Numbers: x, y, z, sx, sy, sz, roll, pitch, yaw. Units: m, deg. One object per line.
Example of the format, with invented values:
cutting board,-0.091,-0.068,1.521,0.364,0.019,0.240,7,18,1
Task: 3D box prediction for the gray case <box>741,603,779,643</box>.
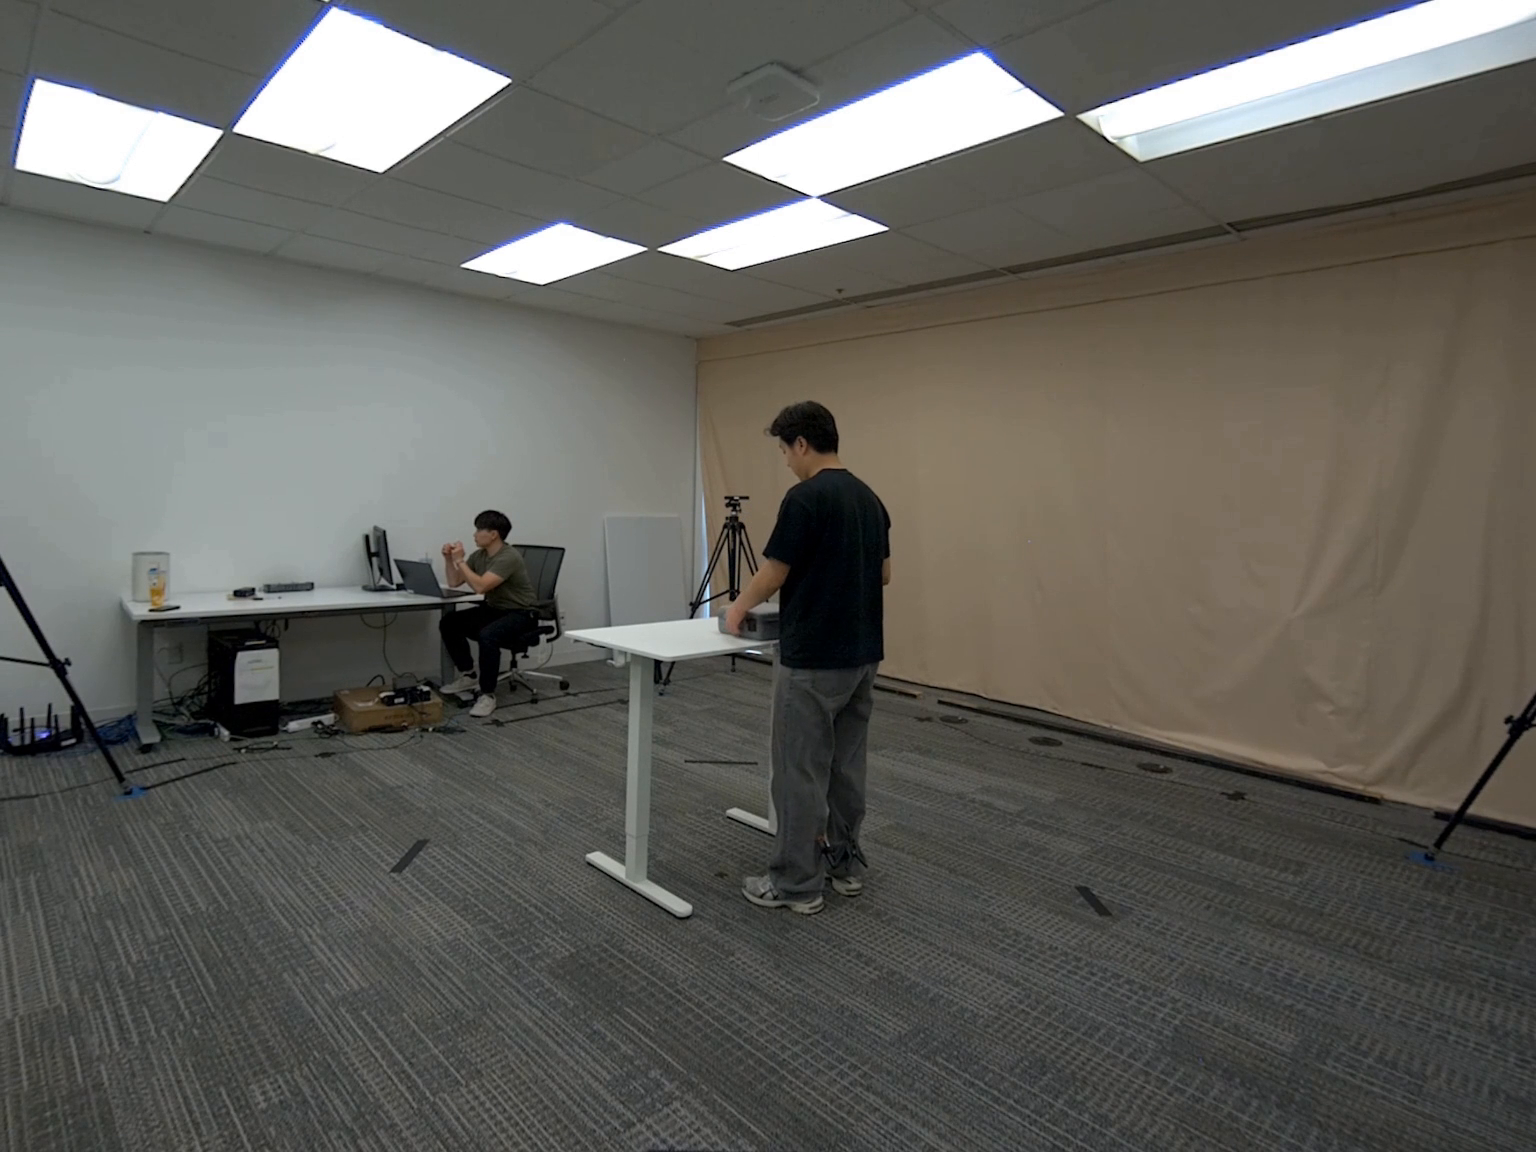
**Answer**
gray case,-0.032,0.167,3.170,0.263,0.104,0.255,4,6,43
